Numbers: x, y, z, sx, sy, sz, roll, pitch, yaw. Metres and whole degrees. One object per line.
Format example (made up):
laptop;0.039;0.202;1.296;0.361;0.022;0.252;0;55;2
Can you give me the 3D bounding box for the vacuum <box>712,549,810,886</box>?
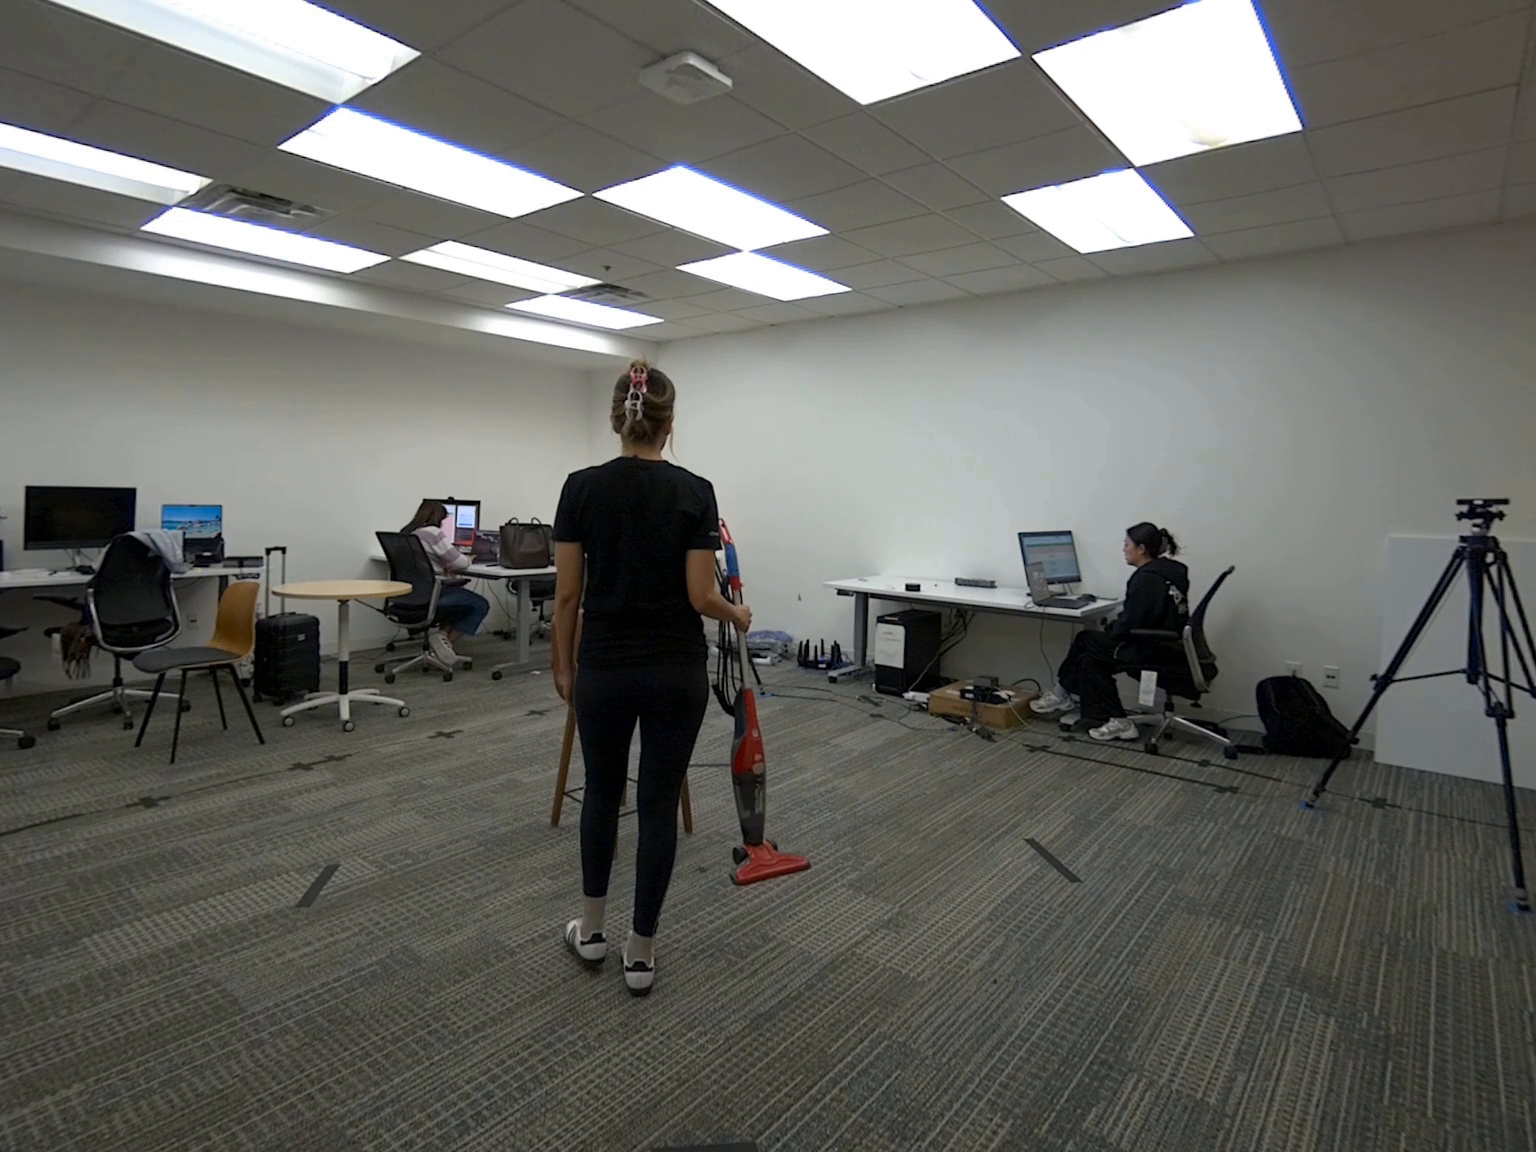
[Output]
vacuum;-0.087;0.347;2.598;0.246;1.060;0.146;-4;-10;-31
